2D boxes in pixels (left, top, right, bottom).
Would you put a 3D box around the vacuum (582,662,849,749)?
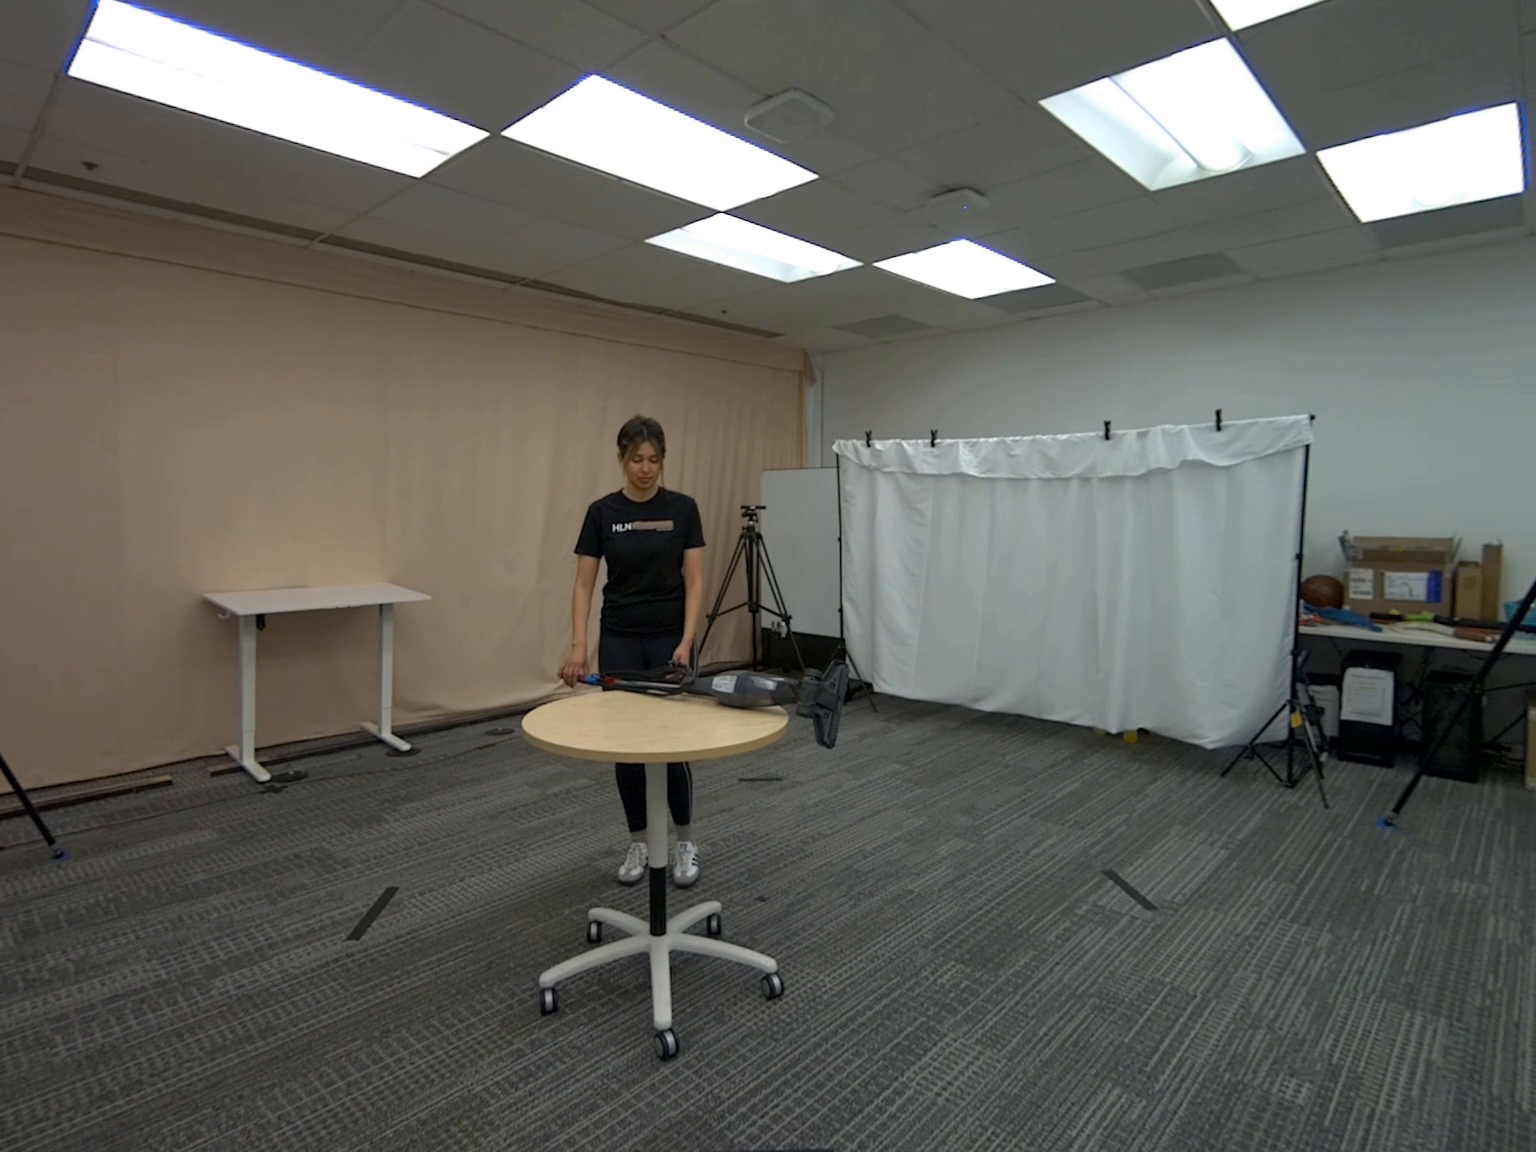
[{"bbox_3d":[-0.265,0.361,2.686,1.081,0.254,0.139,1,-26,33],"label":"vacuum"}]
